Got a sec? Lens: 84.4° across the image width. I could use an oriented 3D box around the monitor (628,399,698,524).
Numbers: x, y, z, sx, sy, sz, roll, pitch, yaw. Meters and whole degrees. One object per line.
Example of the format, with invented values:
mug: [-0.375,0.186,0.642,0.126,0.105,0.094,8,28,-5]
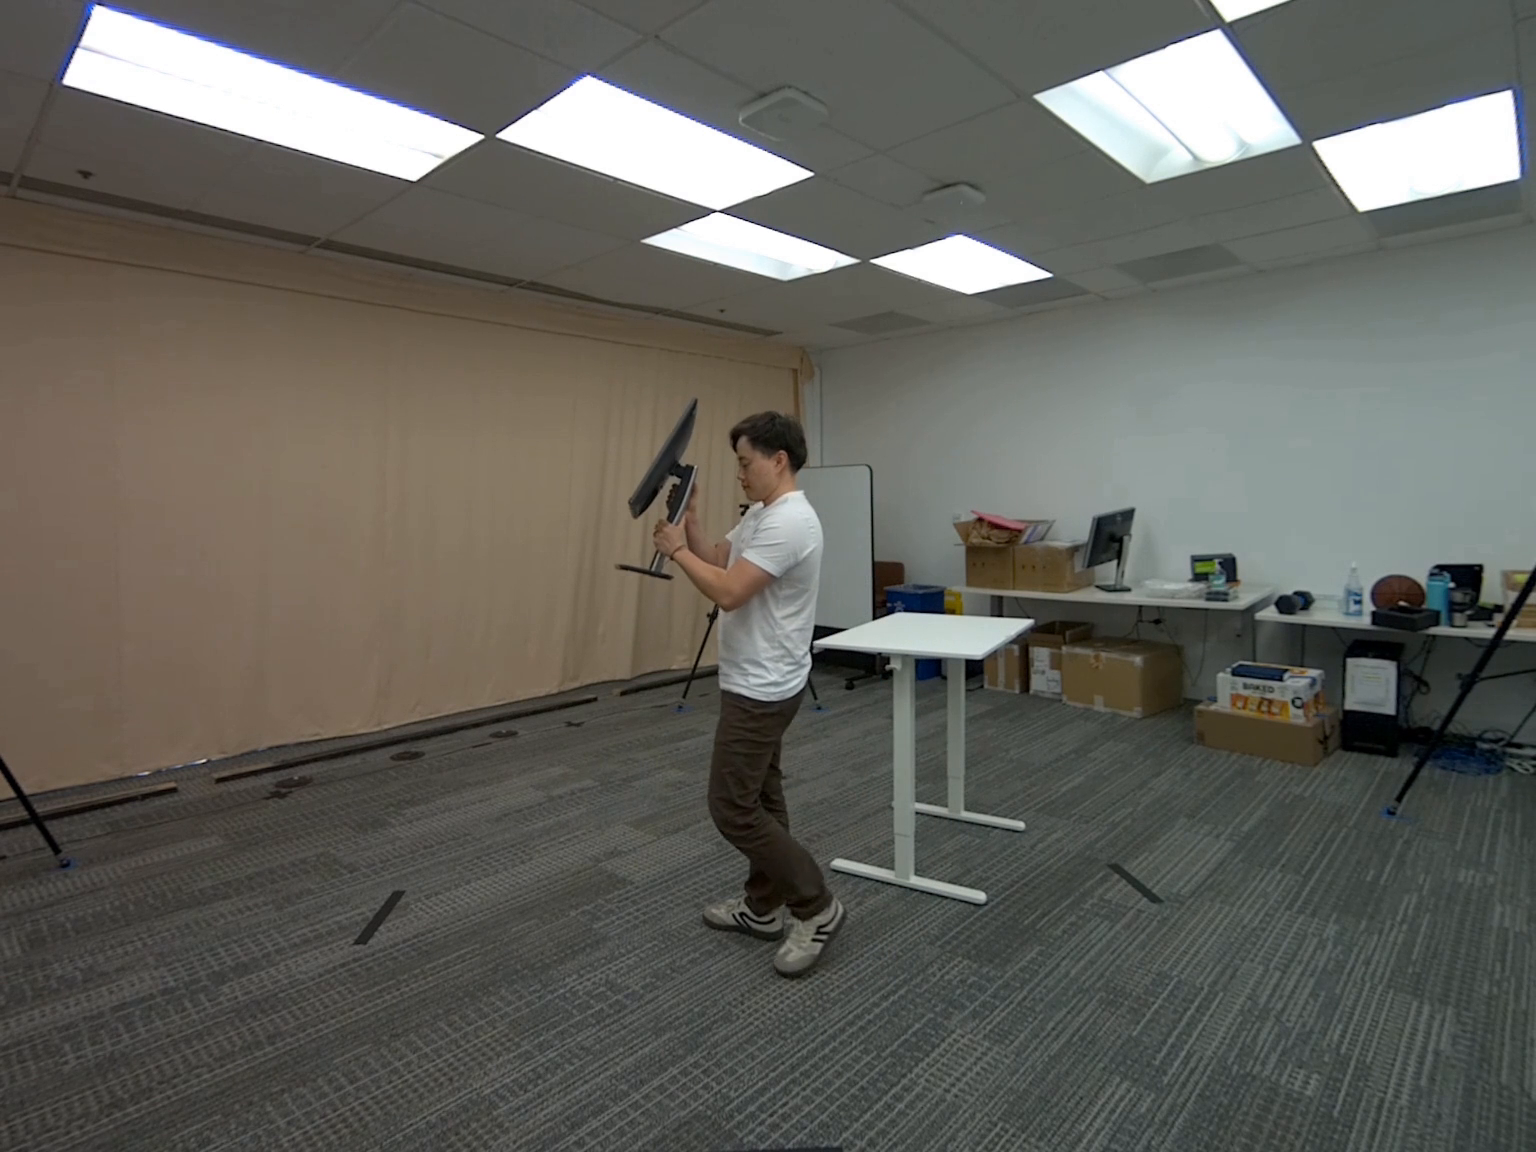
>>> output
monitor: [-0.317,-0.252,2.601,0.185,0.523,0.543,16,-3,-9]
